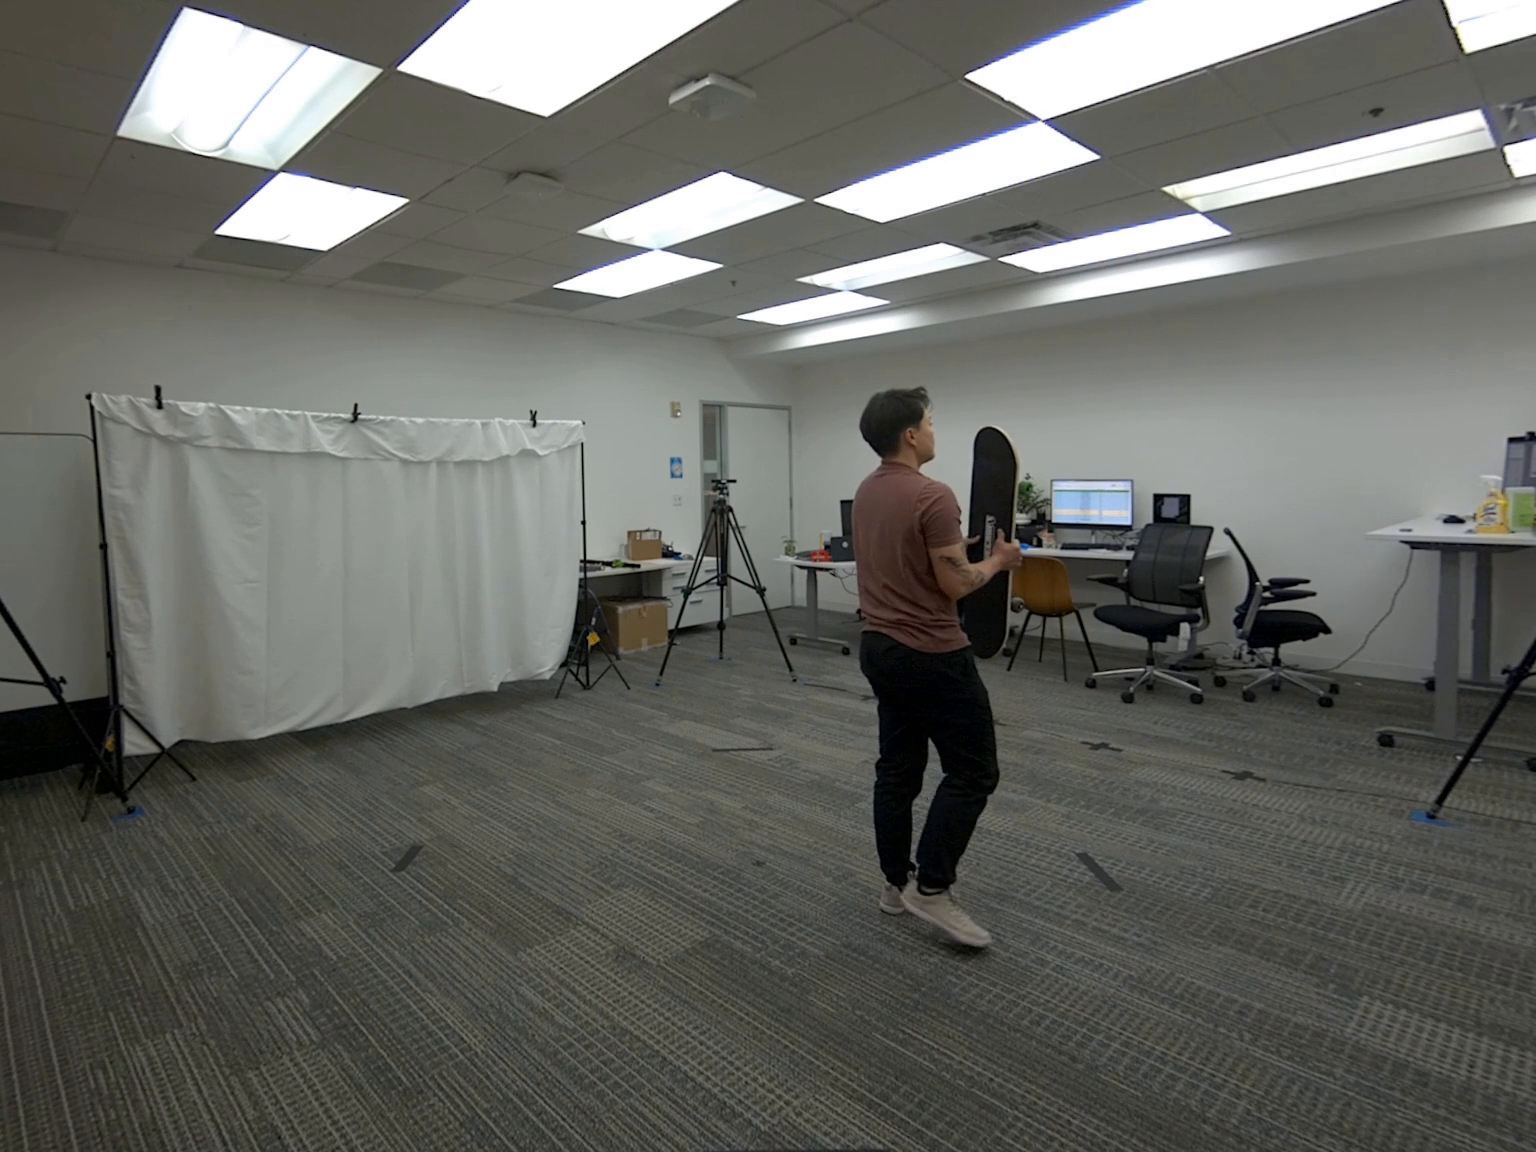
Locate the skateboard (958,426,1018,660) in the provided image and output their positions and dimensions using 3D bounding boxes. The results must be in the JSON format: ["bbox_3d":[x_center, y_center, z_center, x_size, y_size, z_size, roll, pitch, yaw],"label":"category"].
[{"bbox_3d":[0.754,-0.103,2.822,0.108,0.774,0.200,-10,18,-30],"label":"skateboard"}]
